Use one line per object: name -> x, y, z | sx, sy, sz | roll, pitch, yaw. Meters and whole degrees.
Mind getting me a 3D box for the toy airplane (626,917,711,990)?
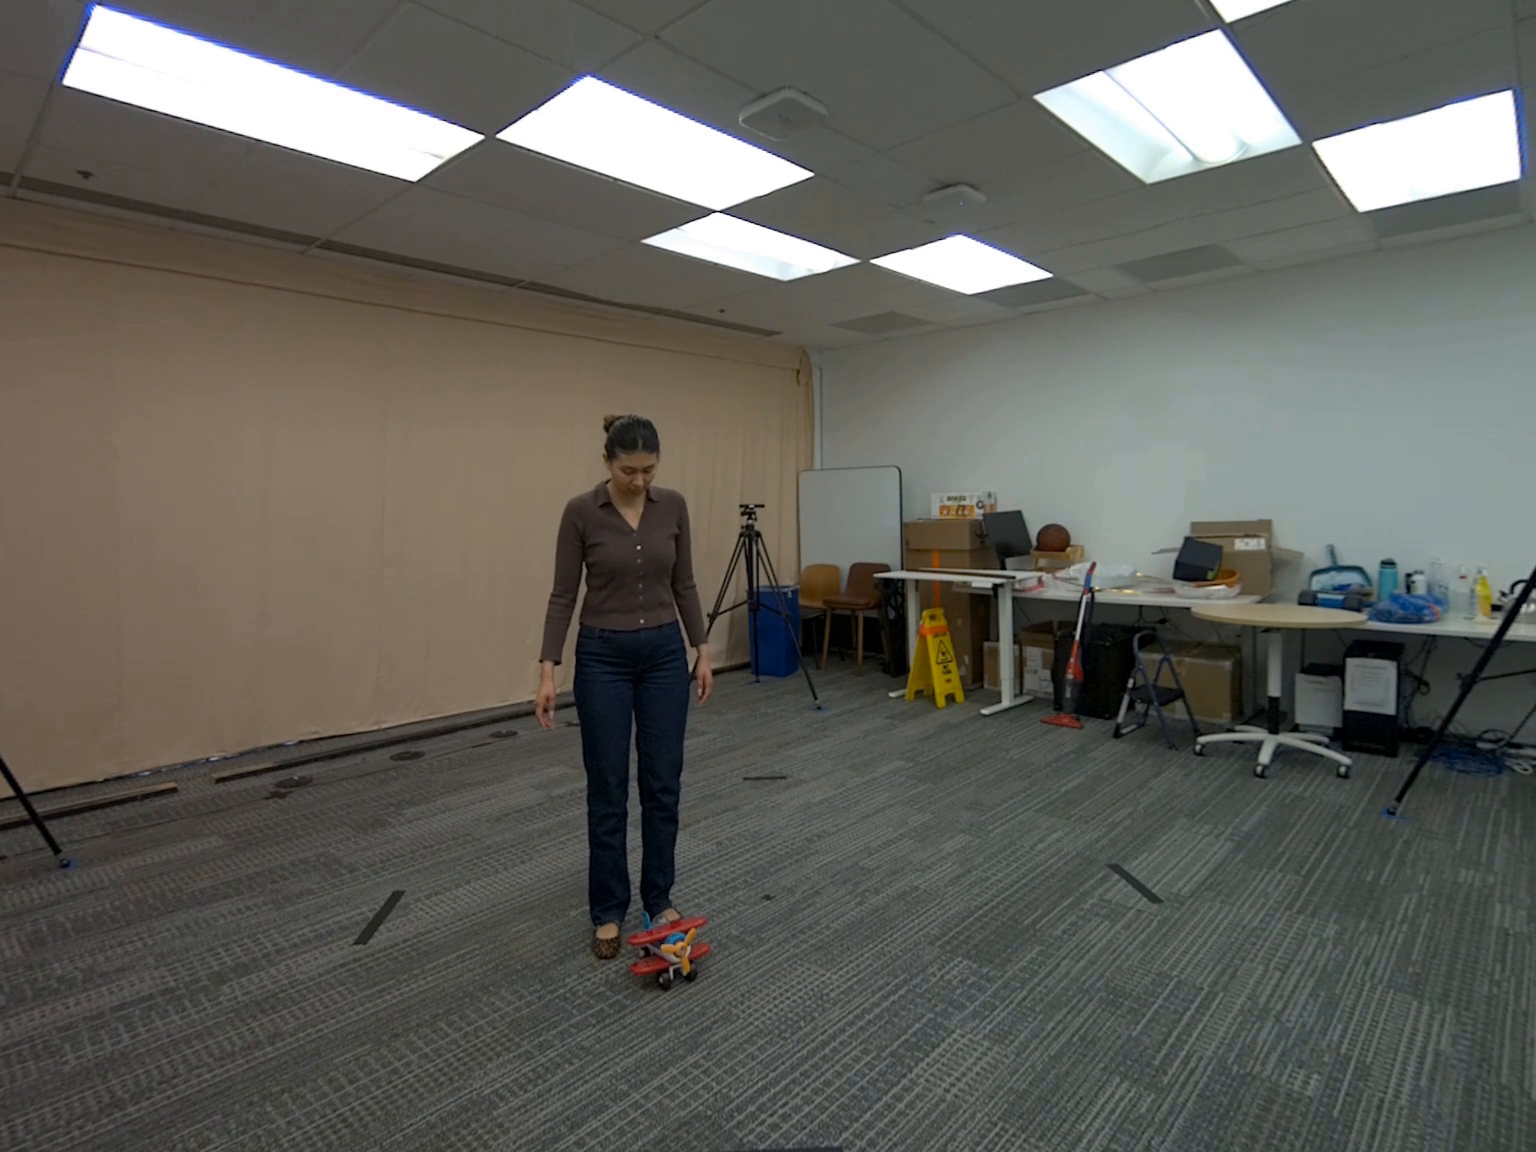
toy airplane -> -0.323, 1.113, 2.506 | 0.266, 0.156, 0.245 | 2, 6, 29
